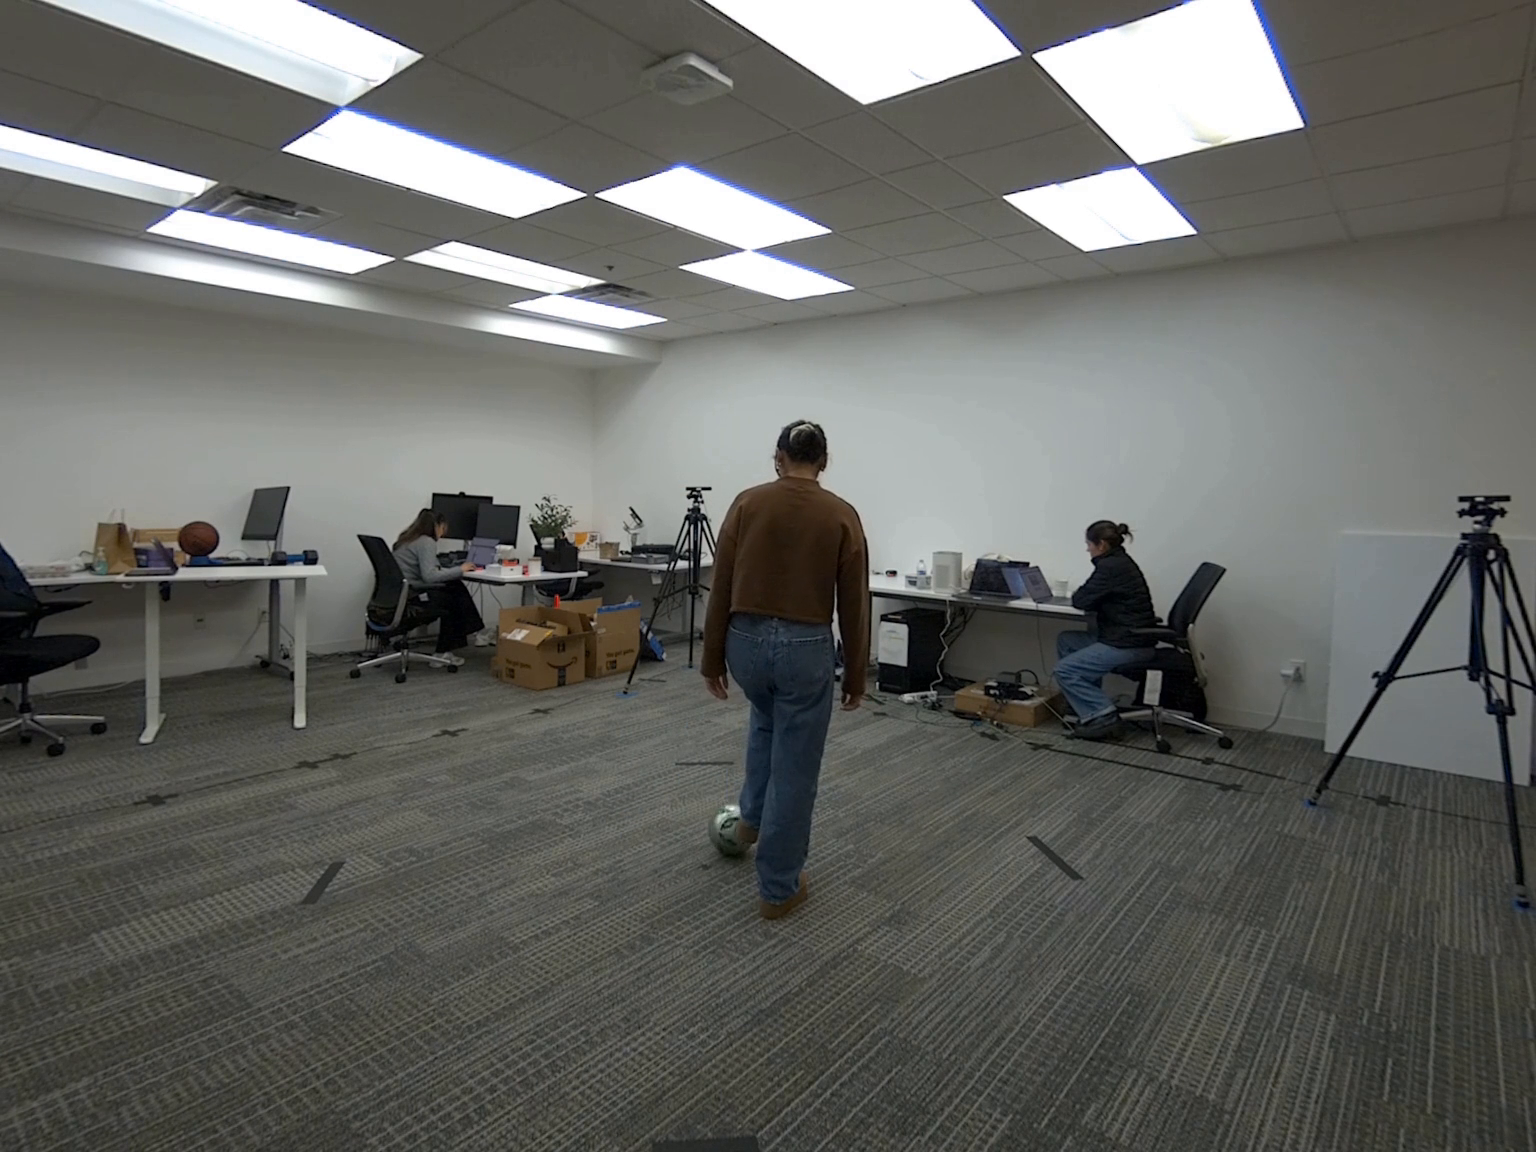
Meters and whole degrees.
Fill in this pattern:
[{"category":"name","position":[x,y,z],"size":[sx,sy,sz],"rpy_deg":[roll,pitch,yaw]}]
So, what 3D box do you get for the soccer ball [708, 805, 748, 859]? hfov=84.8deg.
[{"category":"soccer ball","position":[-0.149,0.959,3.237],"size":[0.187,0.187,0.188],"rpy_deg":[1,4,-2]}]
